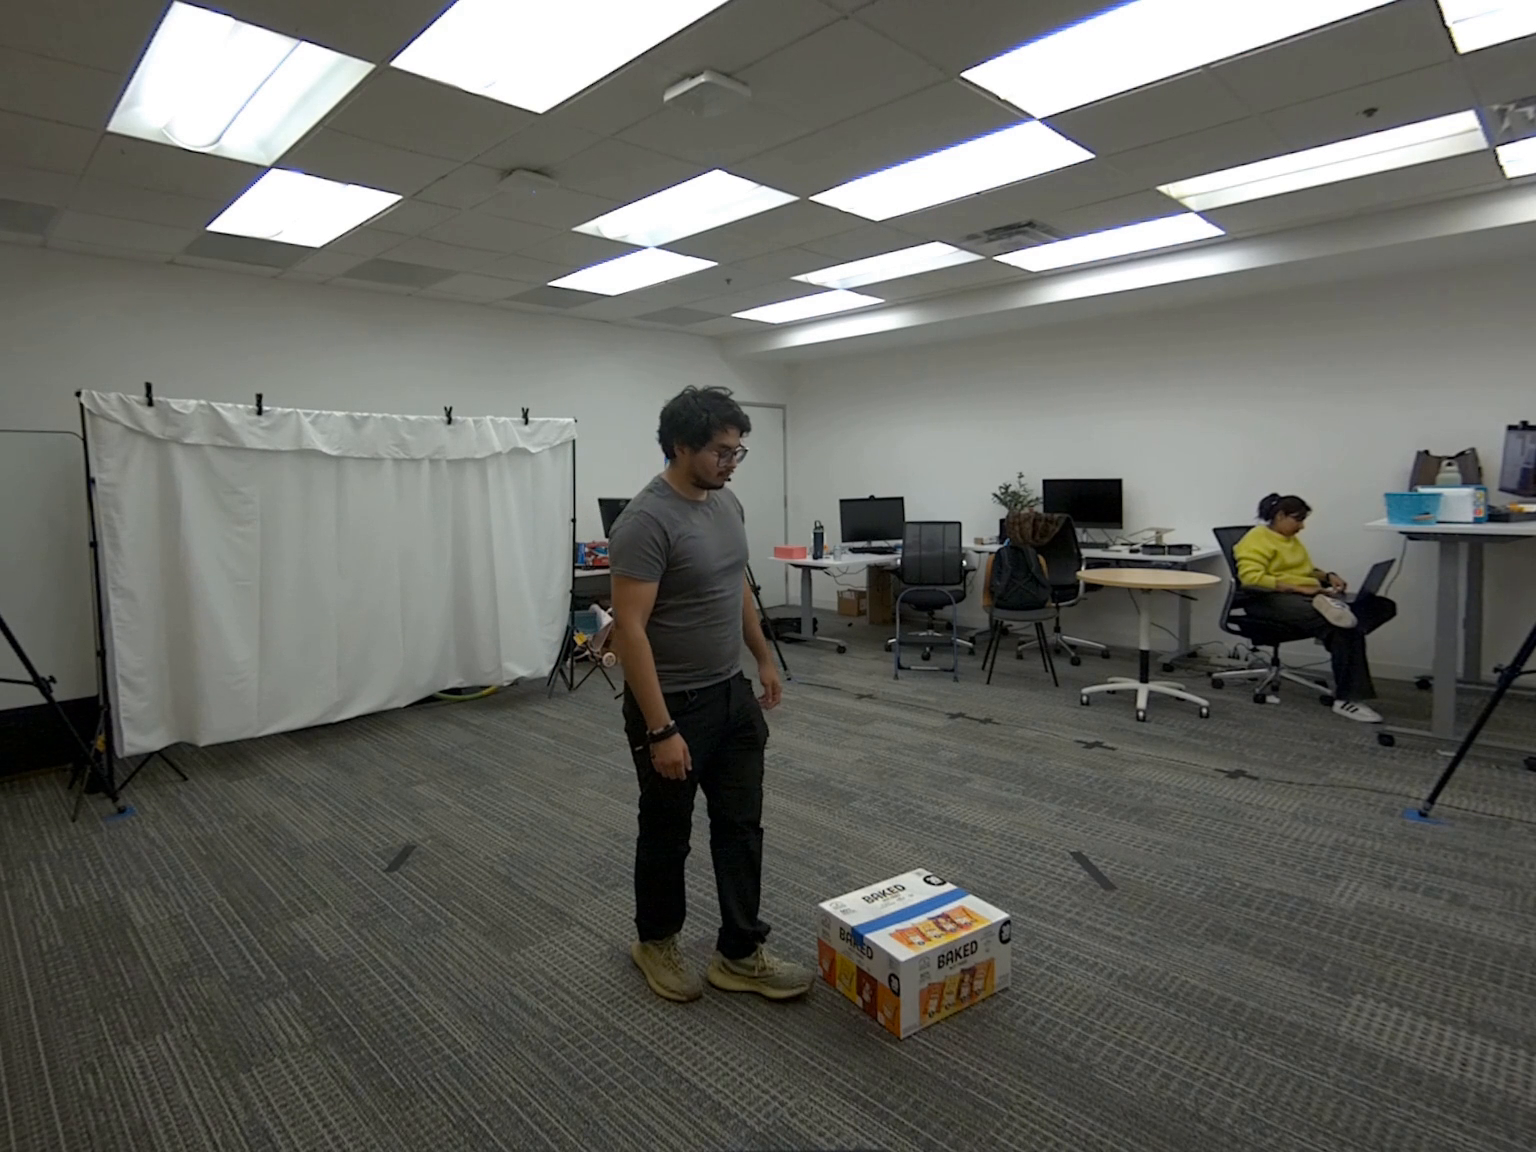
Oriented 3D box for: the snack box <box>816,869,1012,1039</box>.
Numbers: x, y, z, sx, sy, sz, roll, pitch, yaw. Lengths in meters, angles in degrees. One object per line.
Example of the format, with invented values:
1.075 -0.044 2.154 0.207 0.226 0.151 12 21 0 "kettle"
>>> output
0.407 1.021 2.355 0.395 0.205 0.350 -6 8 -33 "snack box"
